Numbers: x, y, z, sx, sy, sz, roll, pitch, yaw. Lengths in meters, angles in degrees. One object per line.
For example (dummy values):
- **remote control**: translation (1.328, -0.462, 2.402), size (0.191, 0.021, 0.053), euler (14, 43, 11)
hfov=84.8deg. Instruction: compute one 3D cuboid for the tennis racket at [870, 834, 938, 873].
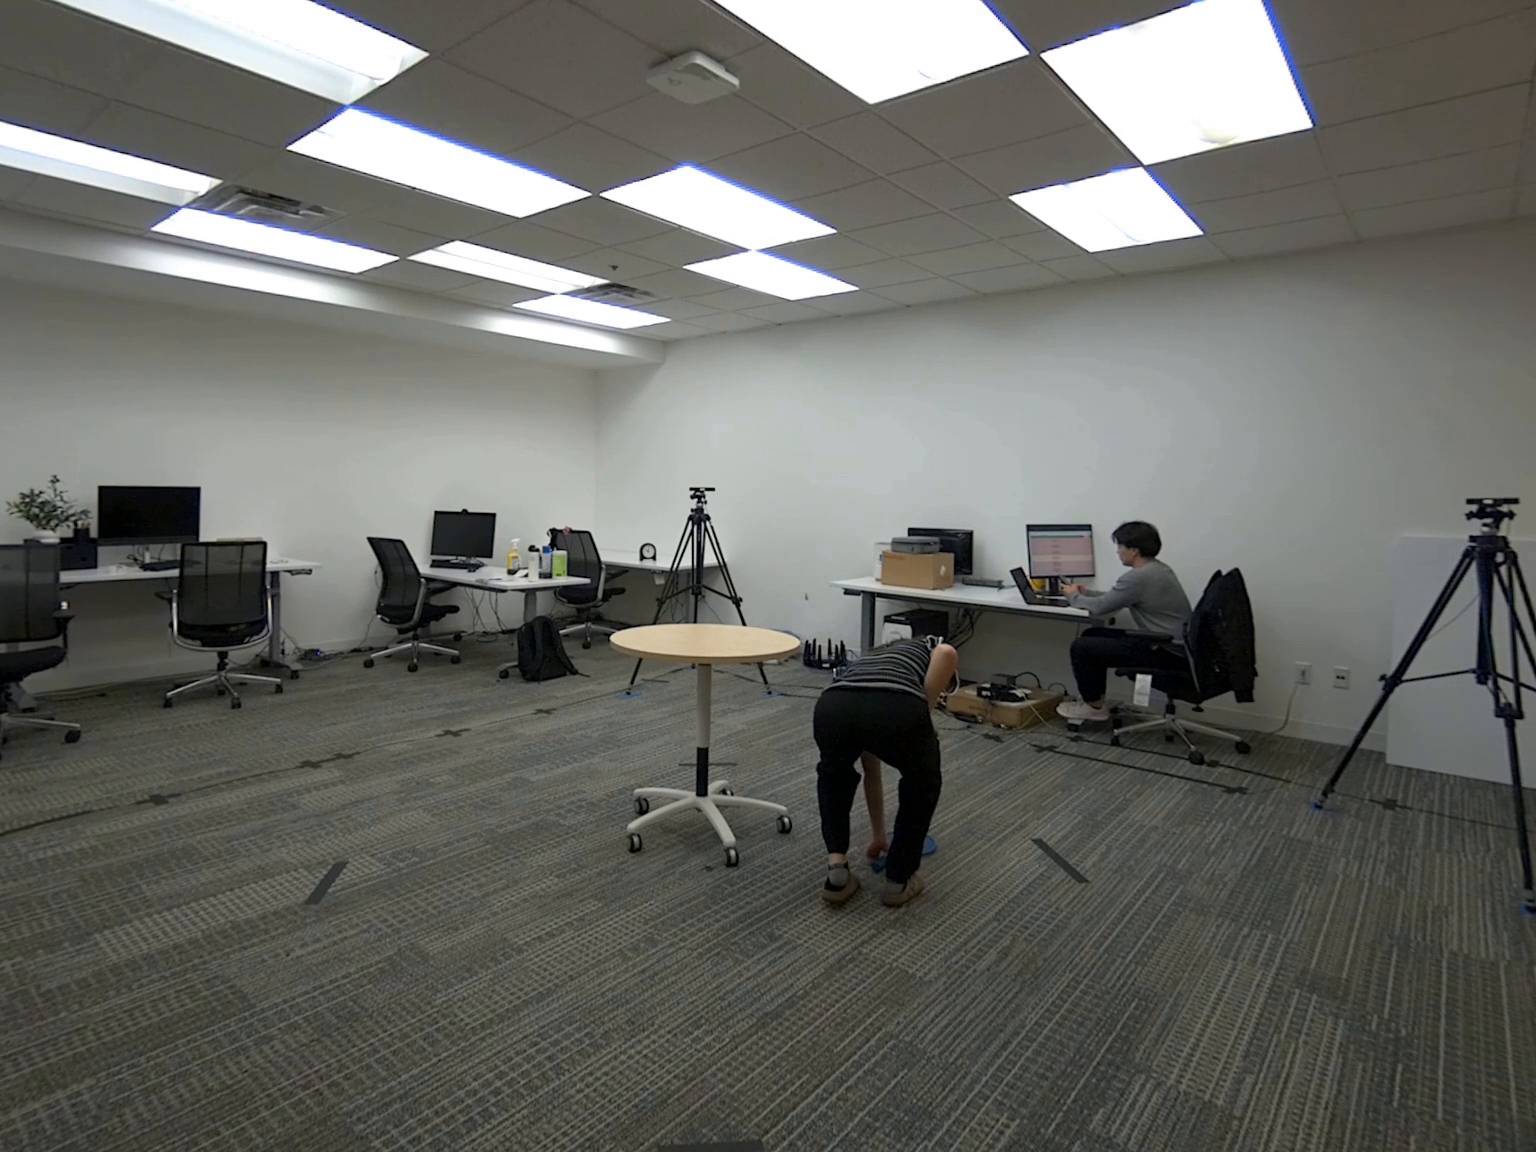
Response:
- **tennis racket**: translation (0.503, 1.048, 3.289), size (0.220, 0.031, 0.421), euler (5, 5, 31)
